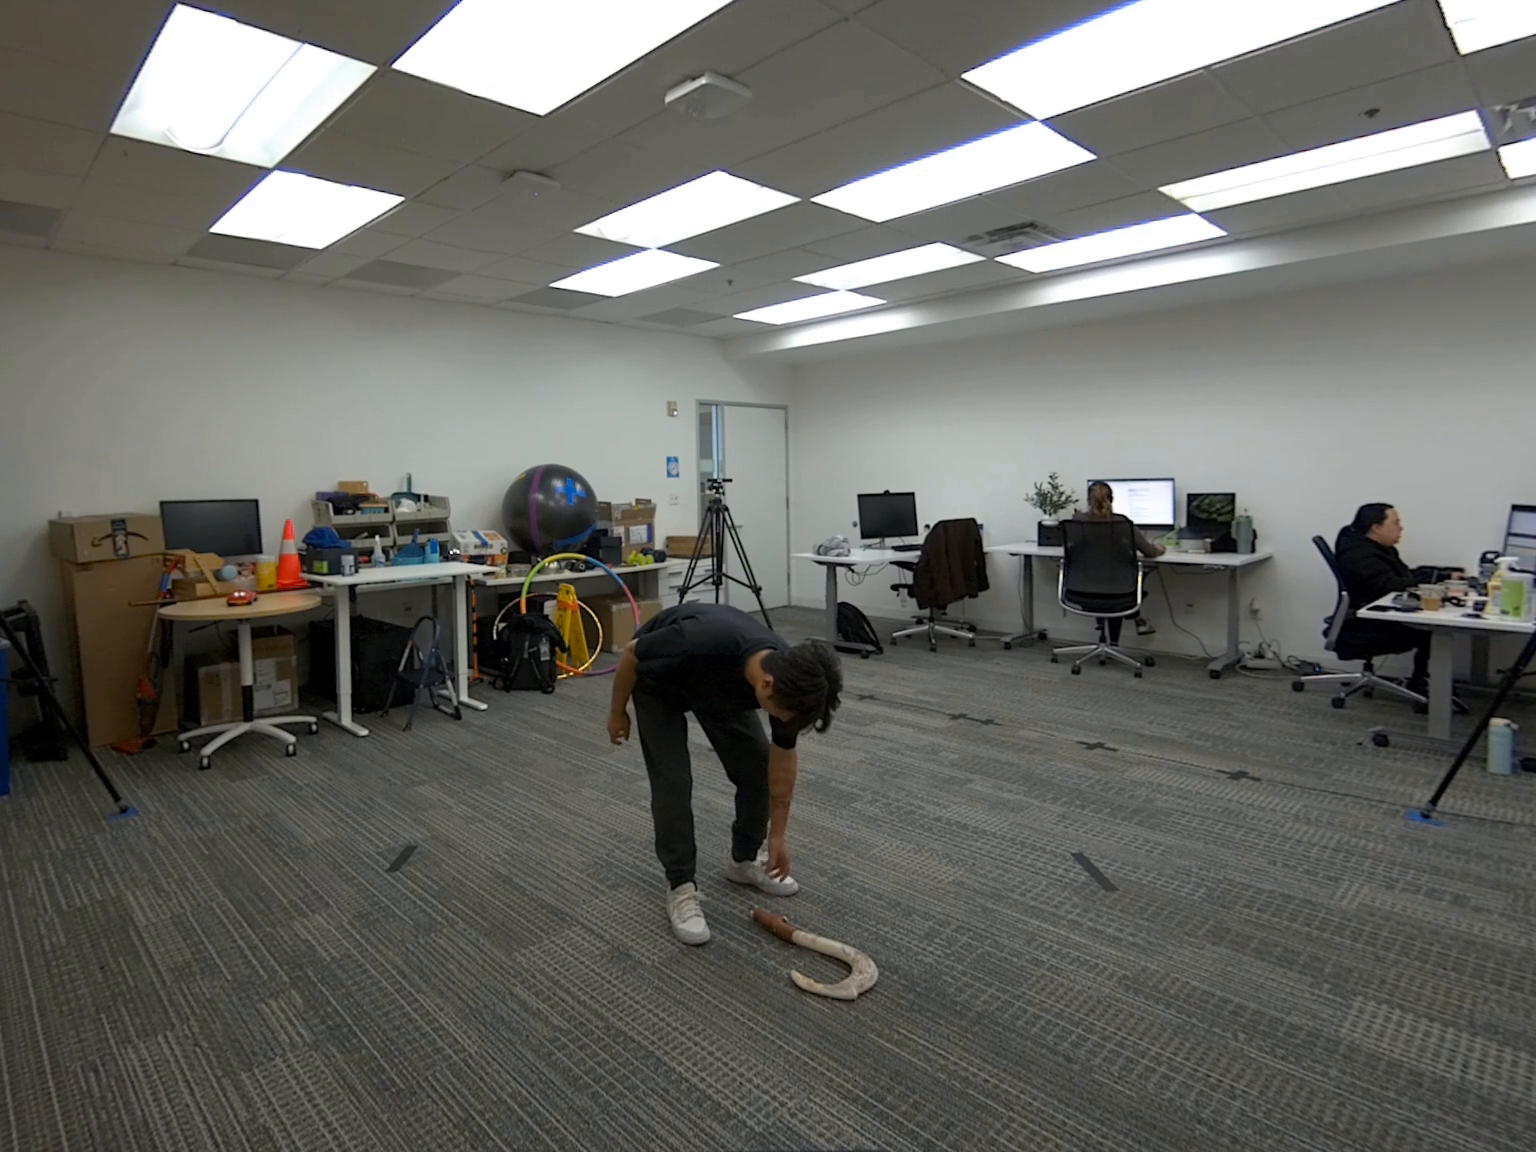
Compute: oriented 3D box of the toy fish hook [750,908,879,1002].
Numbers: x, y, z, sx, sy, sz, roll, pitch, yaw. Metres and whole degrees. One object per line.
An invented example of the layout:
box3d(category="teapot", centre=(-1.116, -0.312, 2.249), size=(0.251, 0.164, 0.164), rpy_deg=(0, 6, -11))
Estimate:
box3d(category="toy fish hook", centre=(0.093, 1.094, 2.491), size=(0.218, 0.048, 0.522), rpy_deg=(-5, 7, -42))
